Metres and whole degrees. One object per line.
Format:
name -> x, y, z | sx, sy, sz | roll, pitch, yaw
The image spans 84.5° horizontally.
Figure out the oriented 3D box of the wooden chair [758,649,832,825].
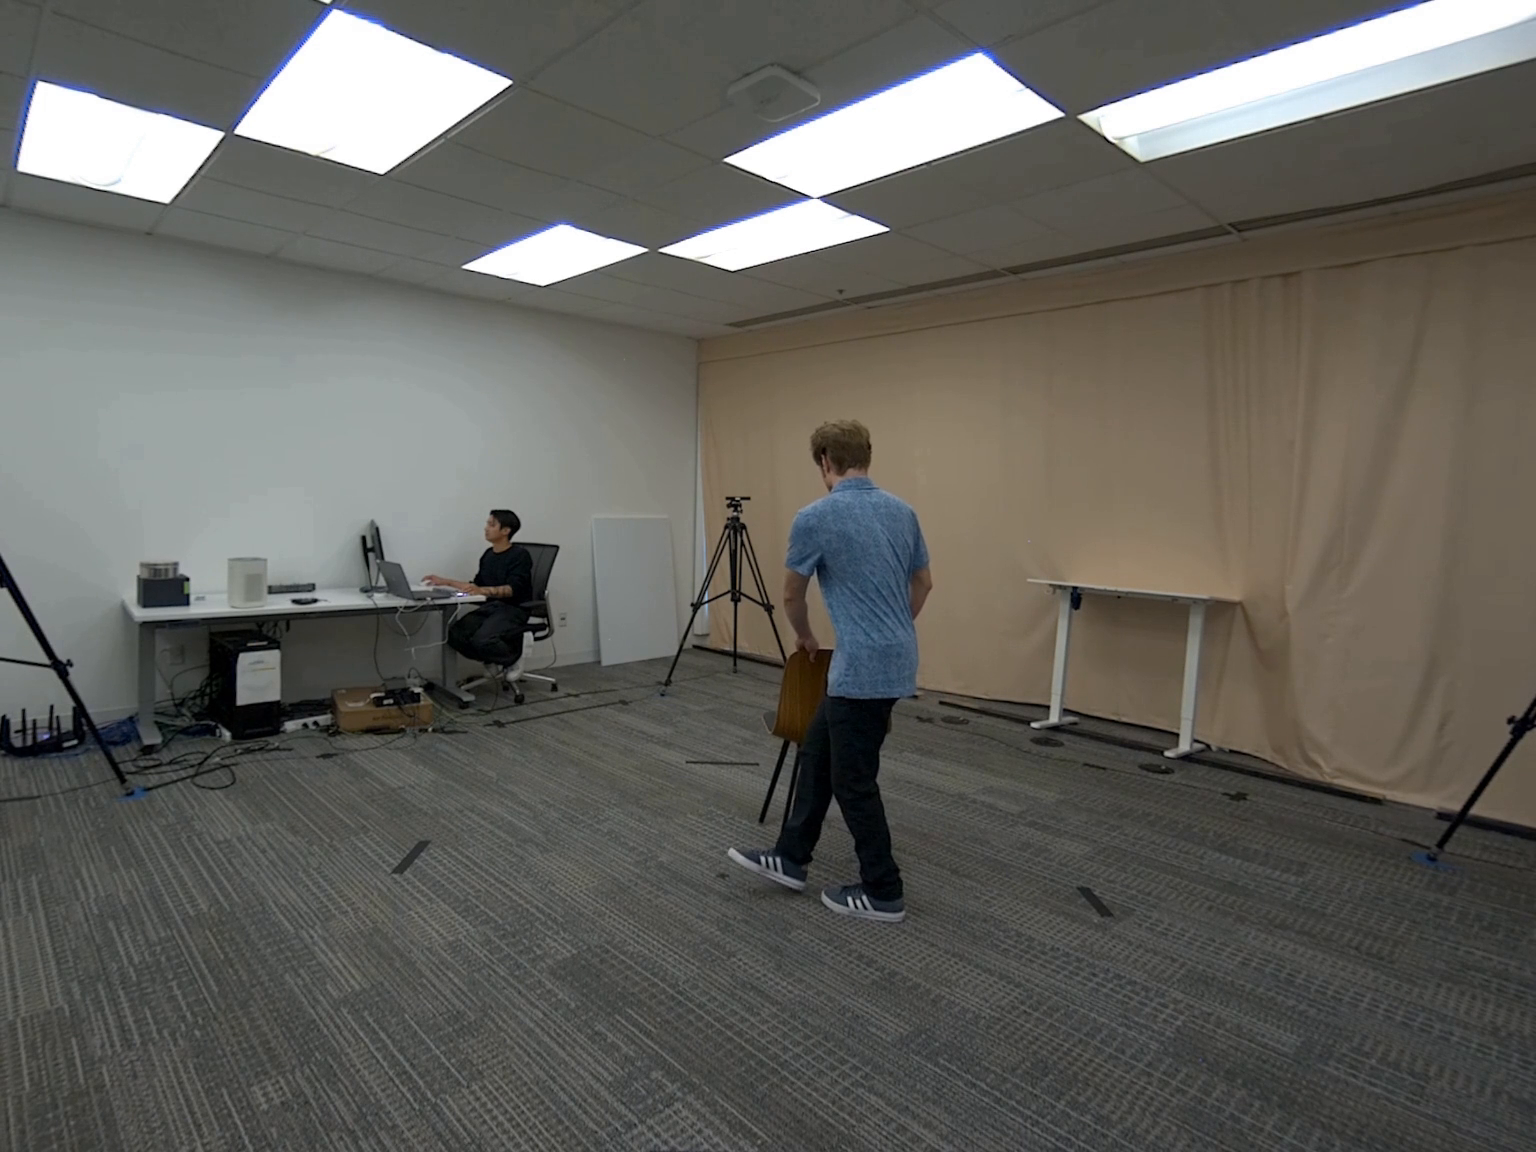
wooden chair -> 0.216, 0.658, 3.415 | 0.475, 0.873, 0.529 | 0, 7, -8
